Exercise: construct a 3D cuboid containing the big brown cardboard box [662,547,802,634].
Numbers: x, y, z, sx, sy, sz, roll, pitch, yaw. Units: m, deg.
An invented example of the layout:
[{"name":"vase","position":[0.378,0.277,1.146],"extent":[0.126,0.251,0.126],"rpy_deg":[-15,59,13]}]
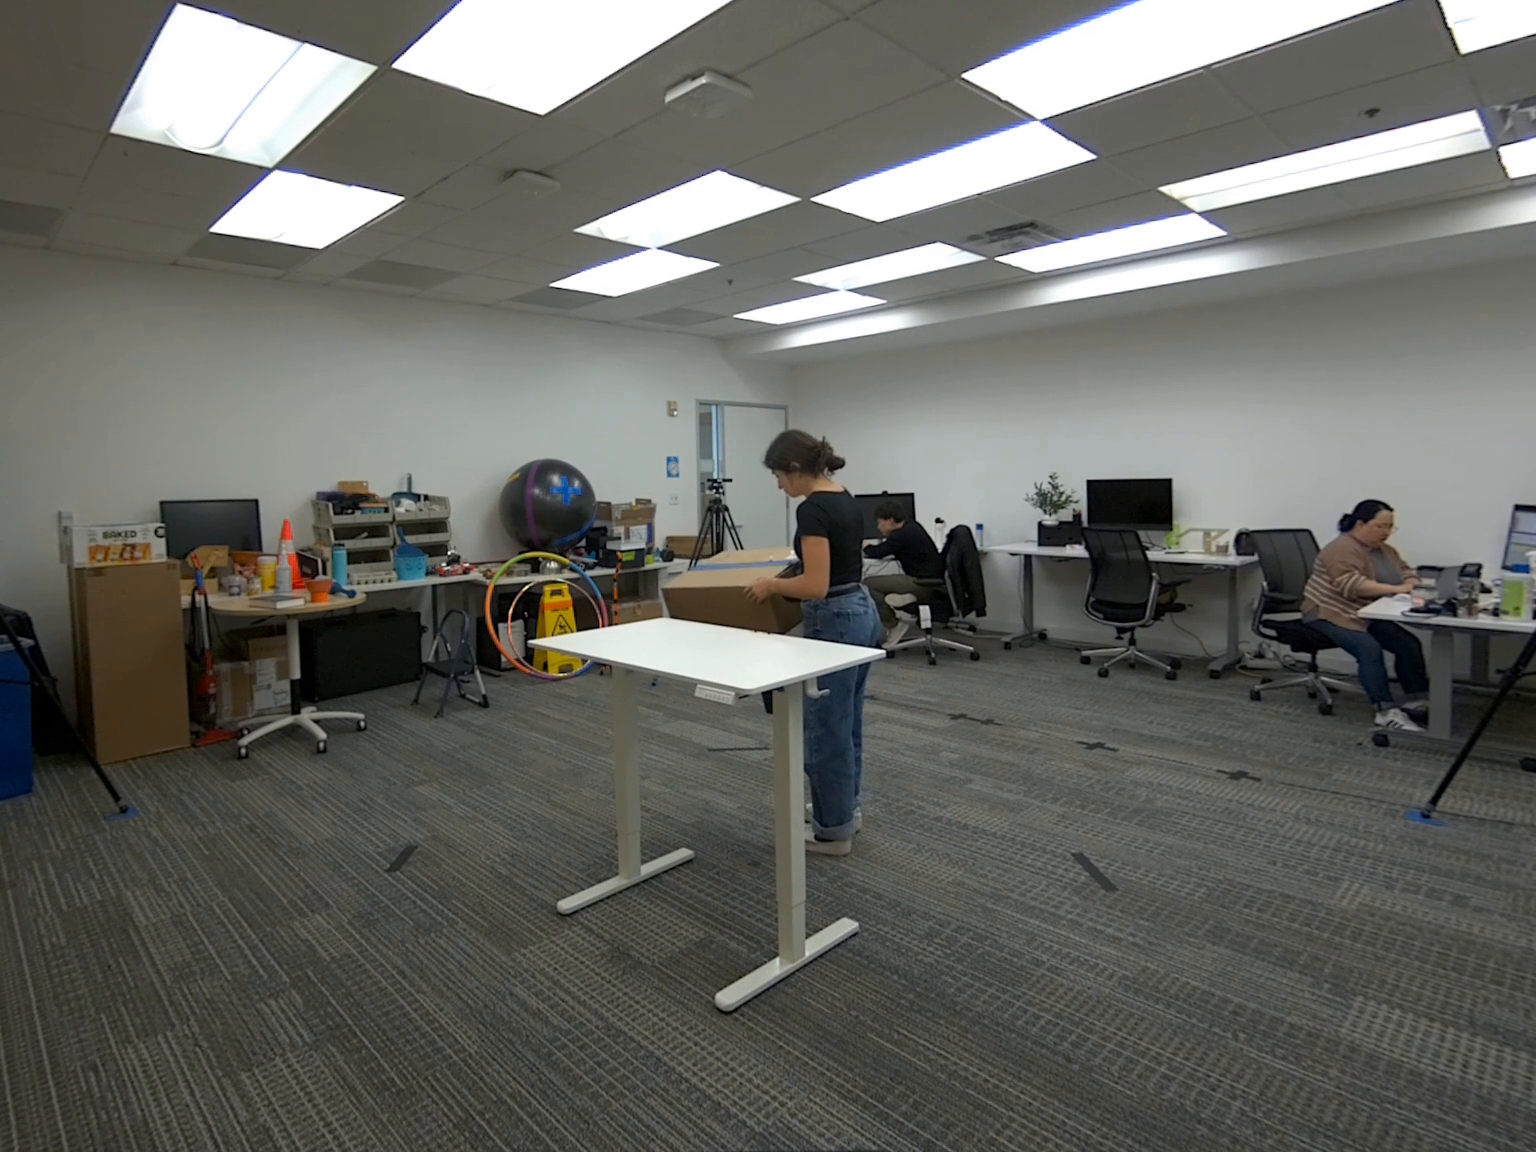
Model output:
[{"name":"big brown cardboard box","position":[-0.082,0.057,3.493],"extent":[0.605,0.230,0.413],"rpy_deg":[-3,19,41]}]
